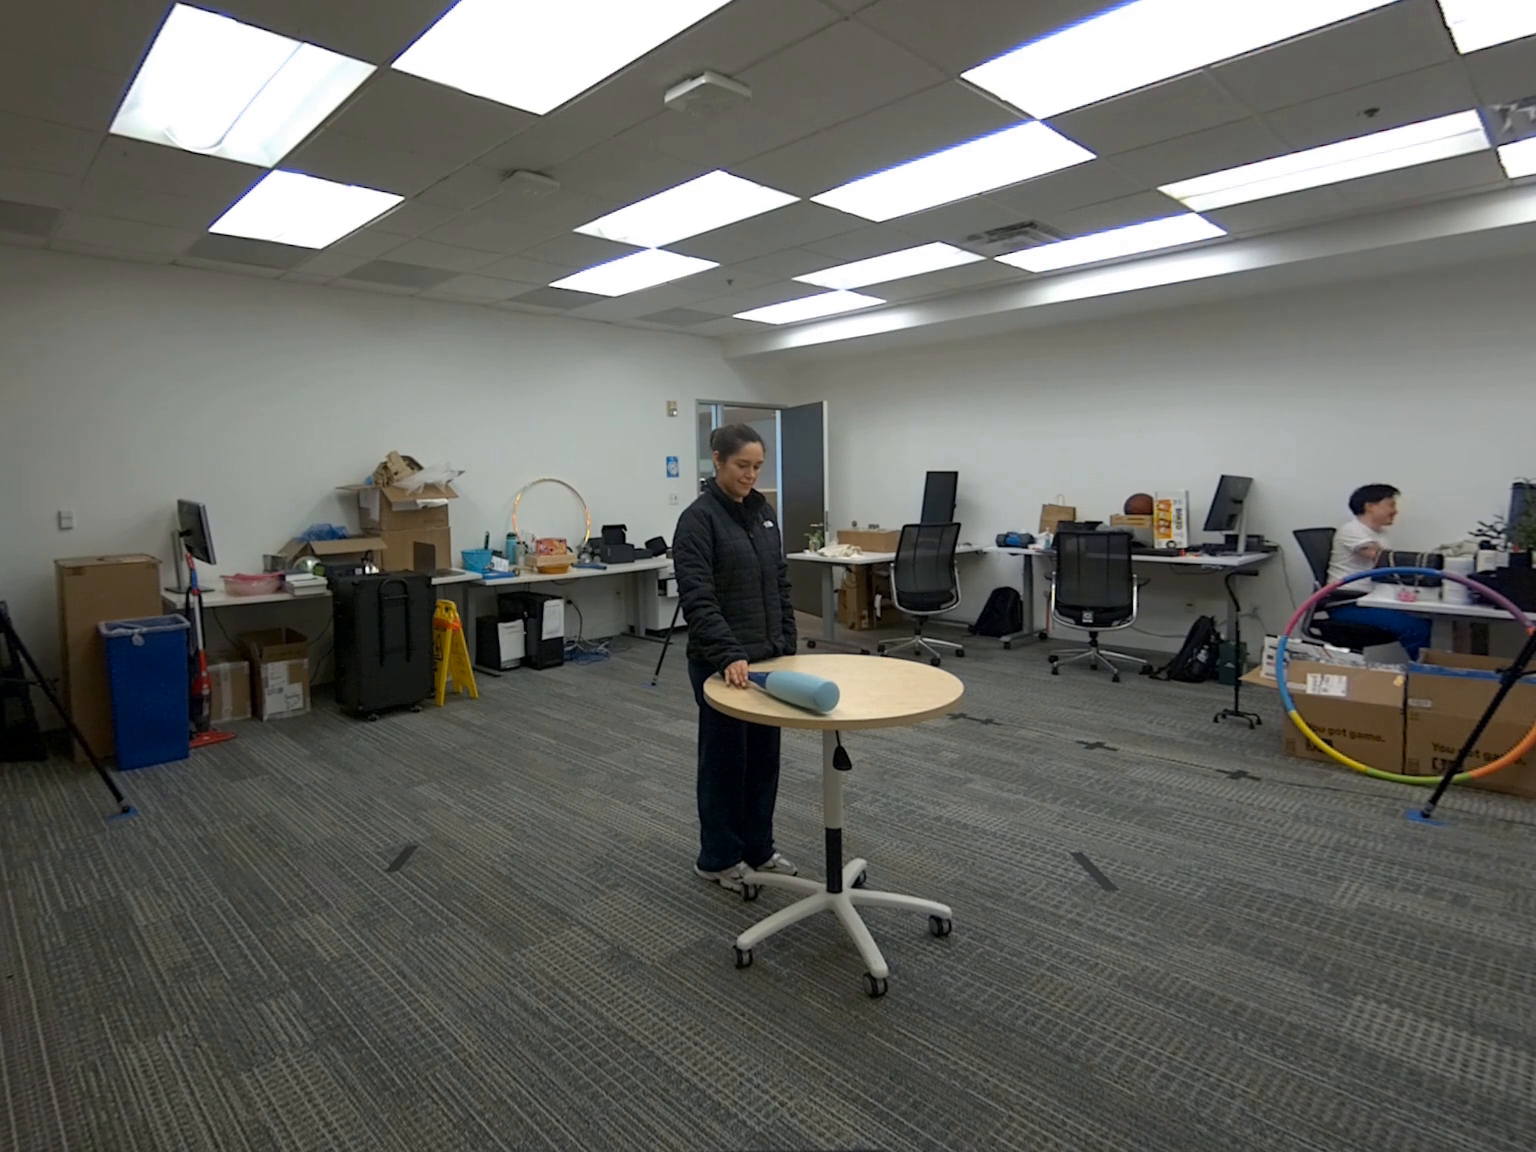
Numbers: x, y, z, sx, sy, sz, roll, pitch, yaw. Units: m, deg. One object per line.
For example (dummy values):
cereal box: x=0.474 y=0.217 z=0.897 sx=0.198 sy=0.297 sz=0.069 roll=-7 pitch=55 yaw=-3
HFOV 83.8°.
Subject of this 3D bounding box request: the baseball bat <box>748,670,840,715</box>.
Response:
baseball bat: x=0.011 y=0.307 z=2.451 sx=0.087 sy=0.089 sz=0.557 roll=-4 pitch=4 yaw=-33
